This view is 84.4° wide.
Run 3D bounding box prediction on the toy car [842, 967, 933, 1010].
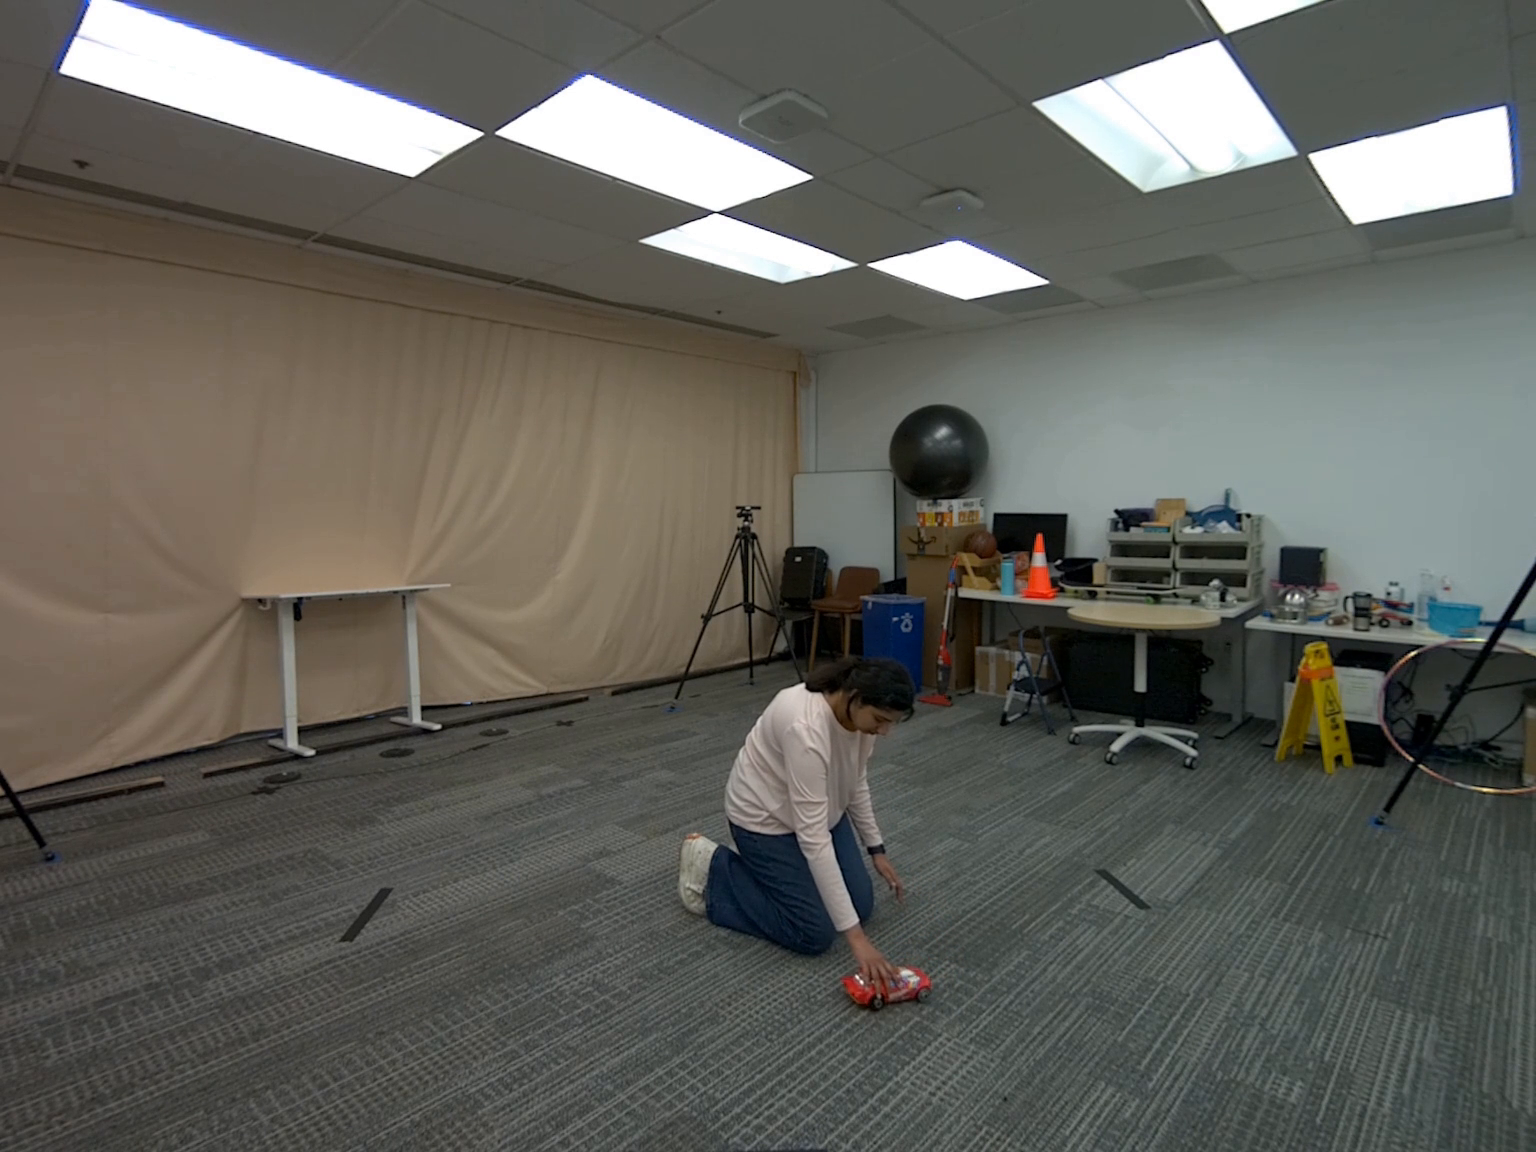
[{"bbox_3d":[0.326,1.154,2.387,0.250,0.083,0.133,11,2,-17],"label":"toy car"}]
